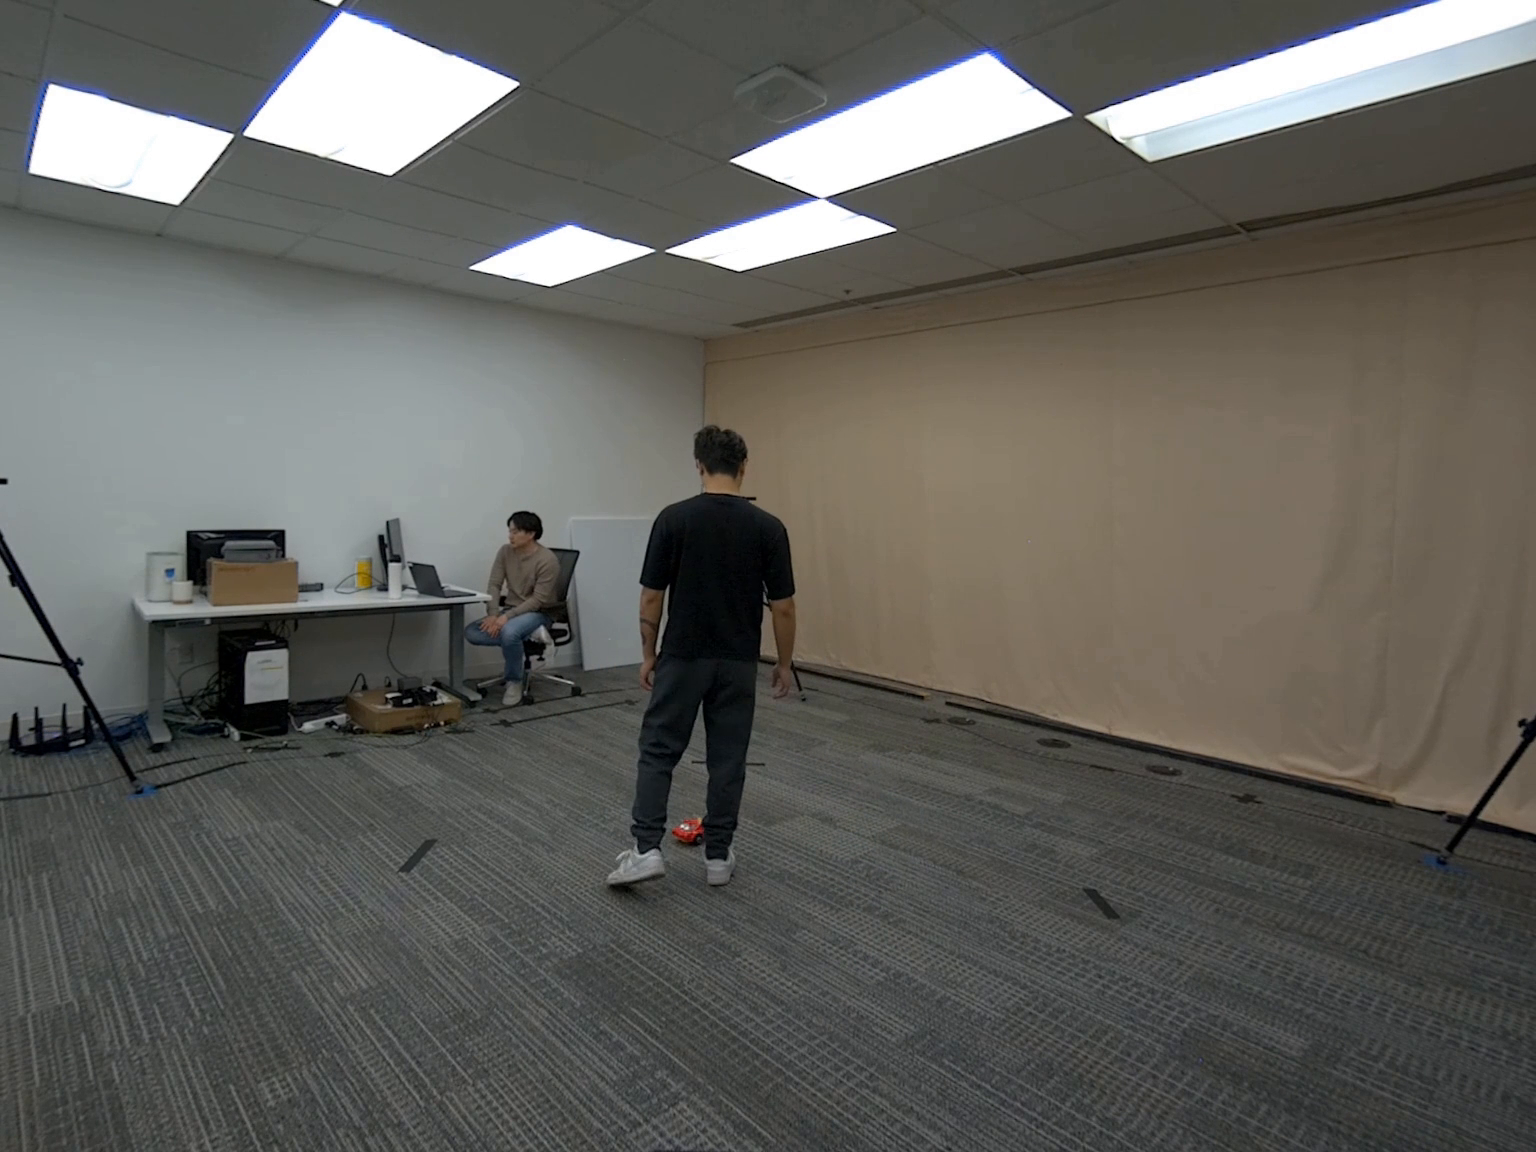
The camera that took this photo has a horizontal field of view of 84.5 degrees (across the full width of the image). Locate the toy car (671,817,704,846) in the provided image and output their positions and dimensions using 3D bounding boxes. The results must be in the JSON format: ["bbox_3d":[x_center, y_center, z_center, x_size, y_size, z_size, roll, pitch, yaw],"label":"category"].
[{"bbox_3d":[-0.294,1.041,3.445,0.247,0.083,0.134,13,-5,-43],"label":"toy car"}]
